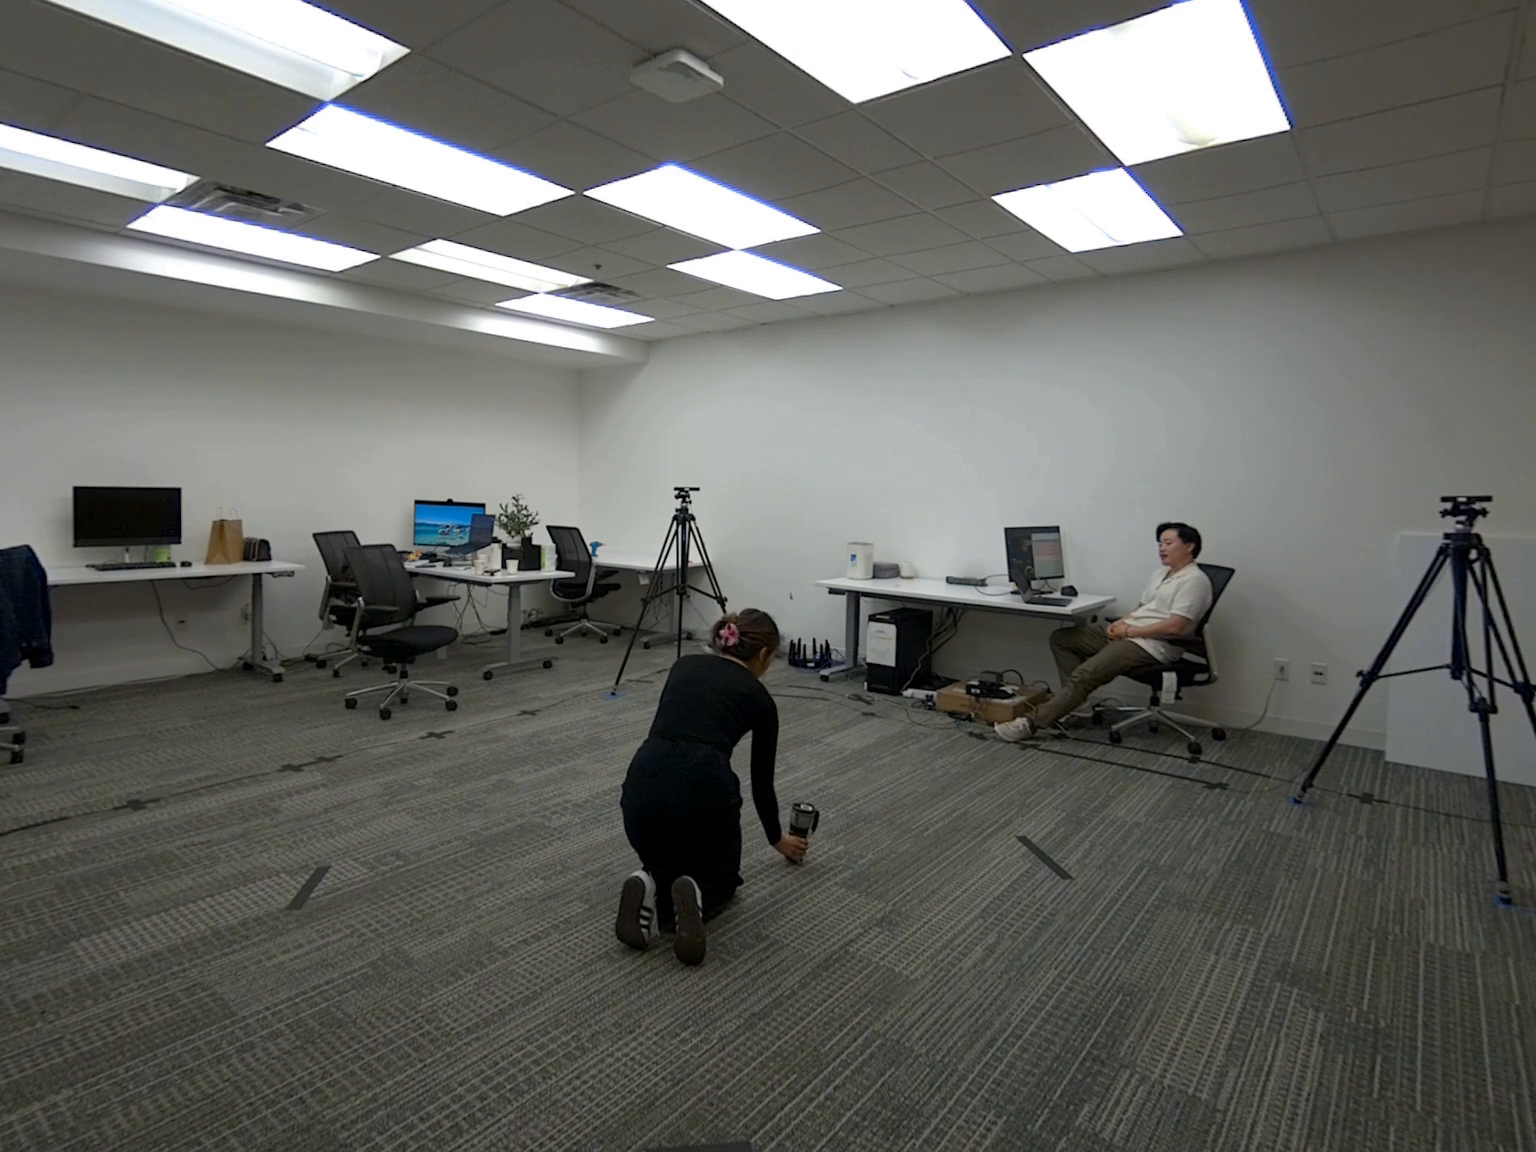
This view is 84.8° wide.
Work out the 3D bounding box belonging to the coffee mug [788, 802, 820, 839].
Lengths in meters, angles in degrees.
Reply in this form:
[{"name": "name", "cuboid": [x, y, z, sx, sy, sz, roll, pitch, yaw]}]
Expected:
[{"name": "coffee mug", "cuboid": [0.130, 0.952, 3.192, 0.121, 0.202, 0.089, 9, 4, -10]}]
